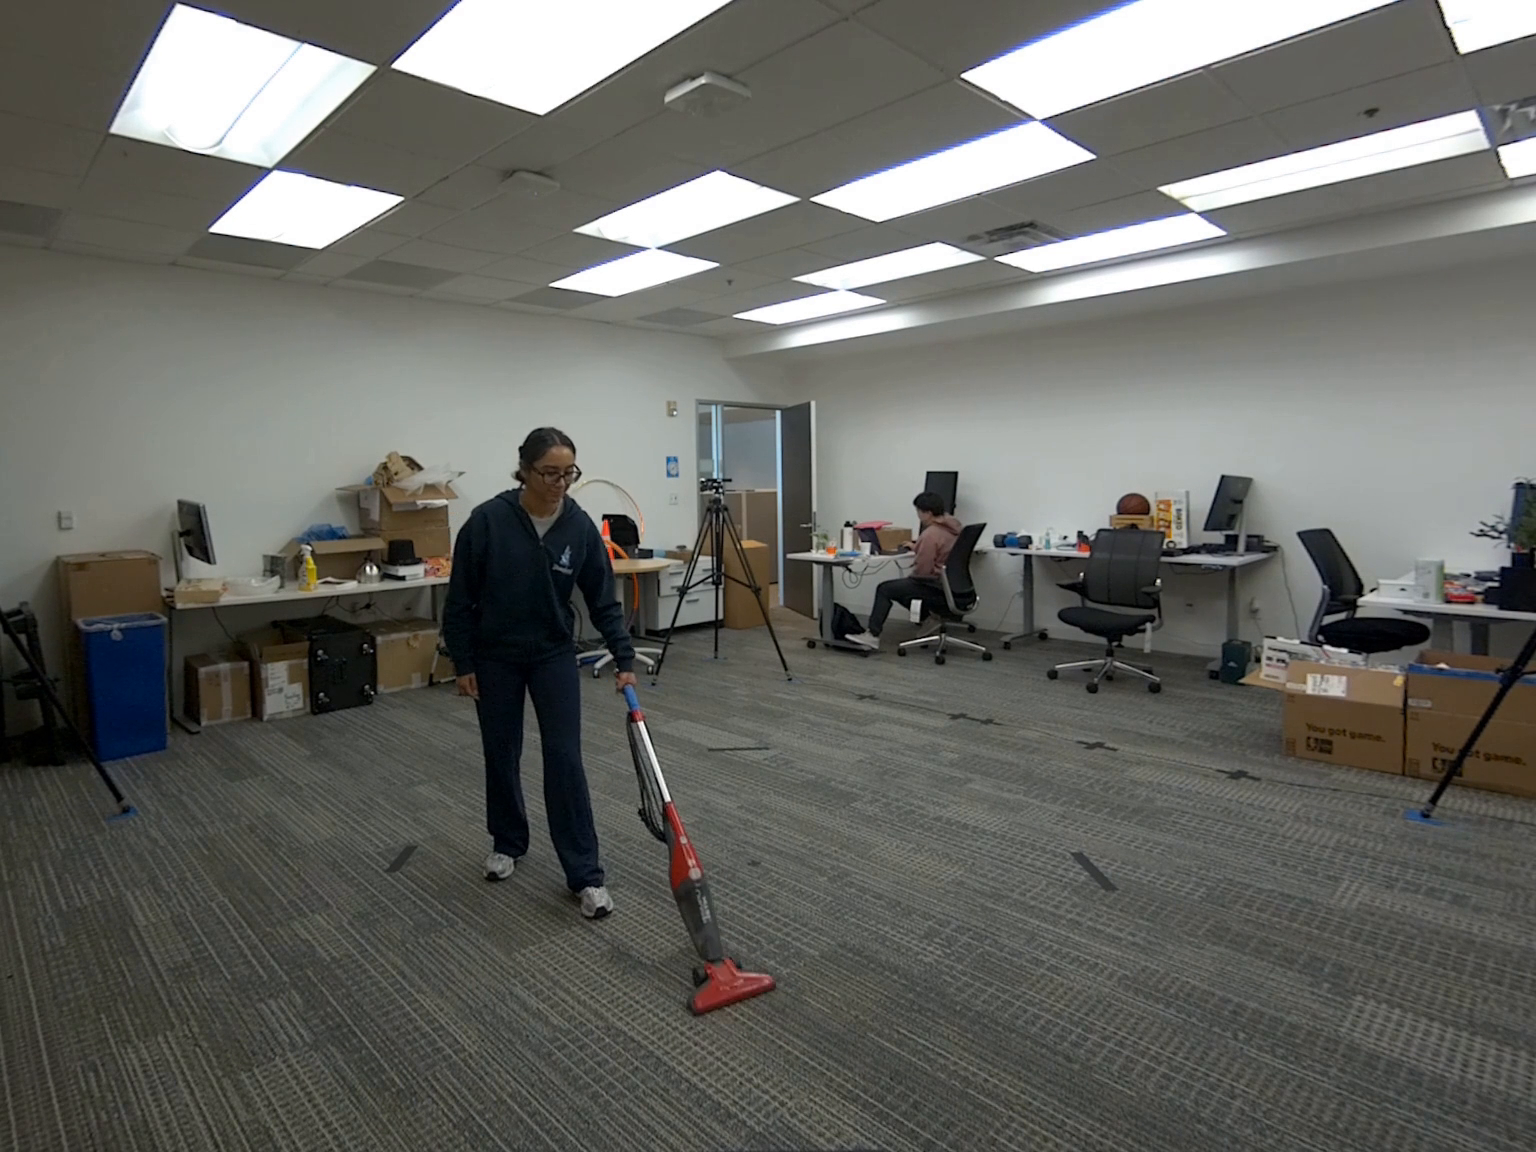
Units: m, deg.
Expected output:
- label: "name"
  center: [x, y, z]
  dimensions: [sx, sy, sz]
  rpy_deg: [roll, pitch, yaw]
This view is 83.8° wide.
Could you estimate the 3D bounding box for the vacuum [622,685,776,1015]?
- label: "vacuum"
  center: [-0.307, 0.740, 2.652]
  dimensions: [0.246, 0.142, 1.087]
  rpy_deg: [-2, 47, -30]
